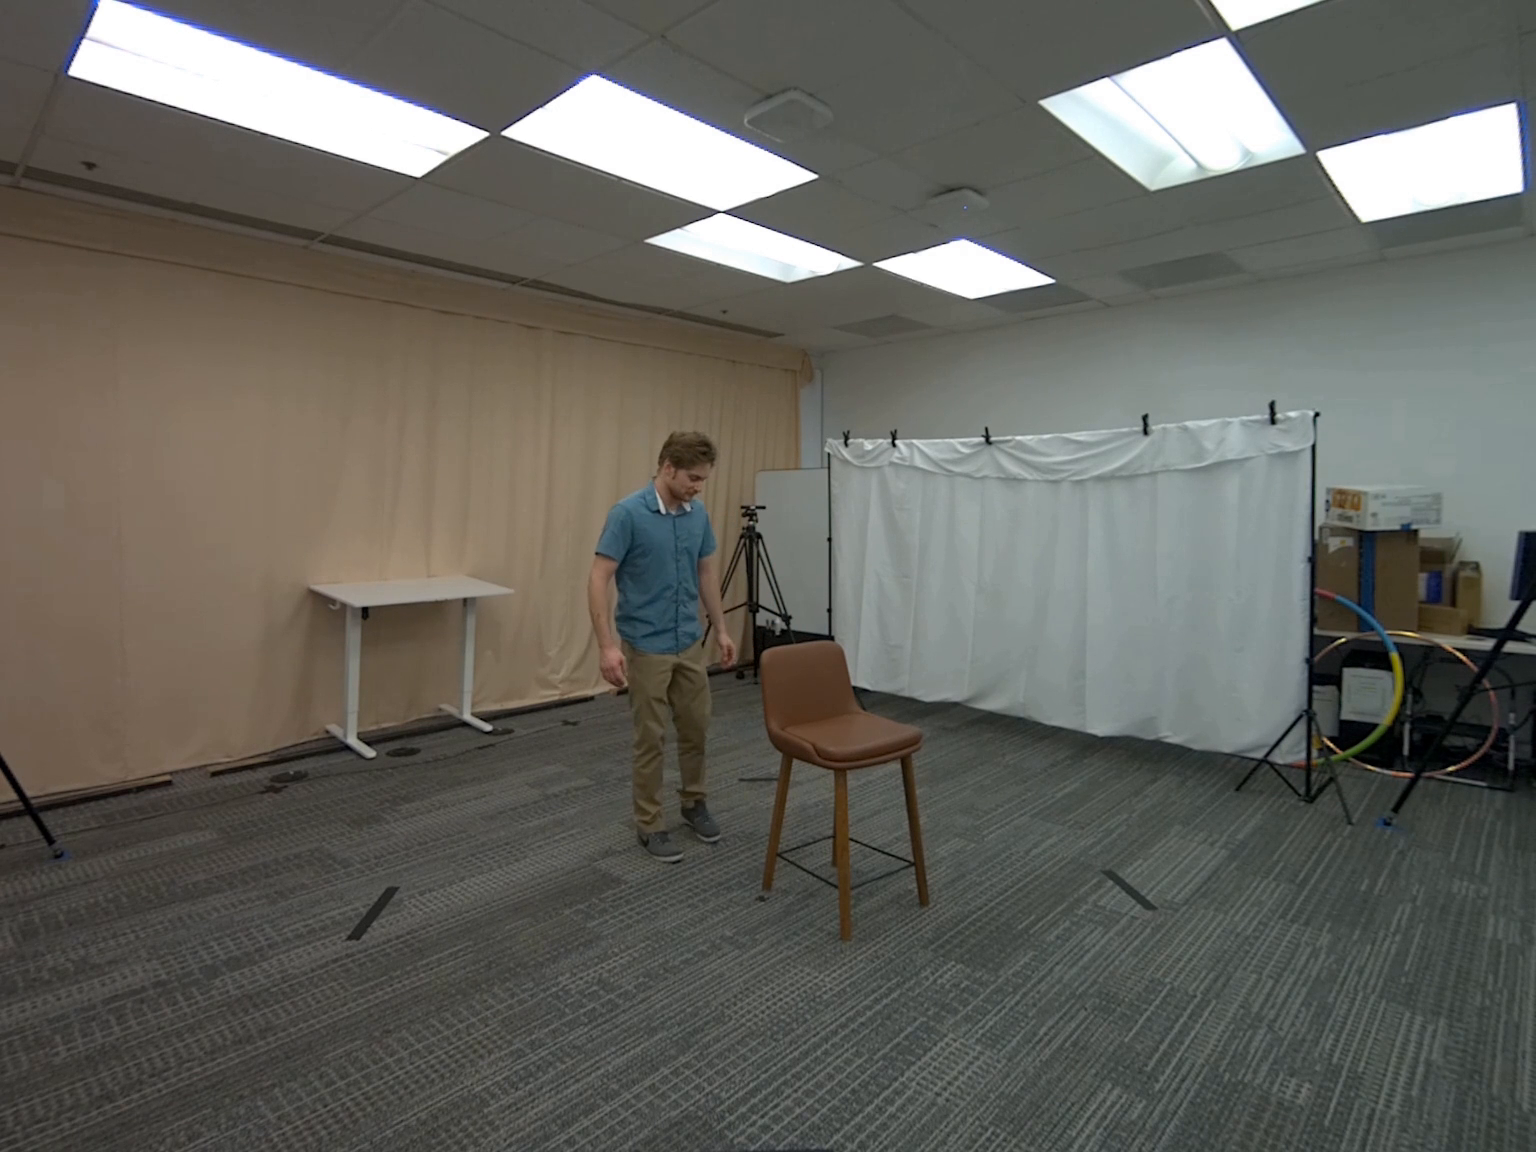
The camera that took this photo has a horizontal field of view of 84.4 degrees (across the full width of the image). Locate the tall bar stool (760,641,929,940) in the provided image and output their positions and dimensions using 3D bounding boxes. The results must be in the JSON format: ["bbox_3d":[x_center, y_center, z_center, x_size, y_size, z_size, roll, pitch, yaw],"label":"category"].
[{"bbox_3d":[0.260,0.708,2.968,0.443,0.889,0.482,-3,2,-38],"label":"tall bar stool"}]
